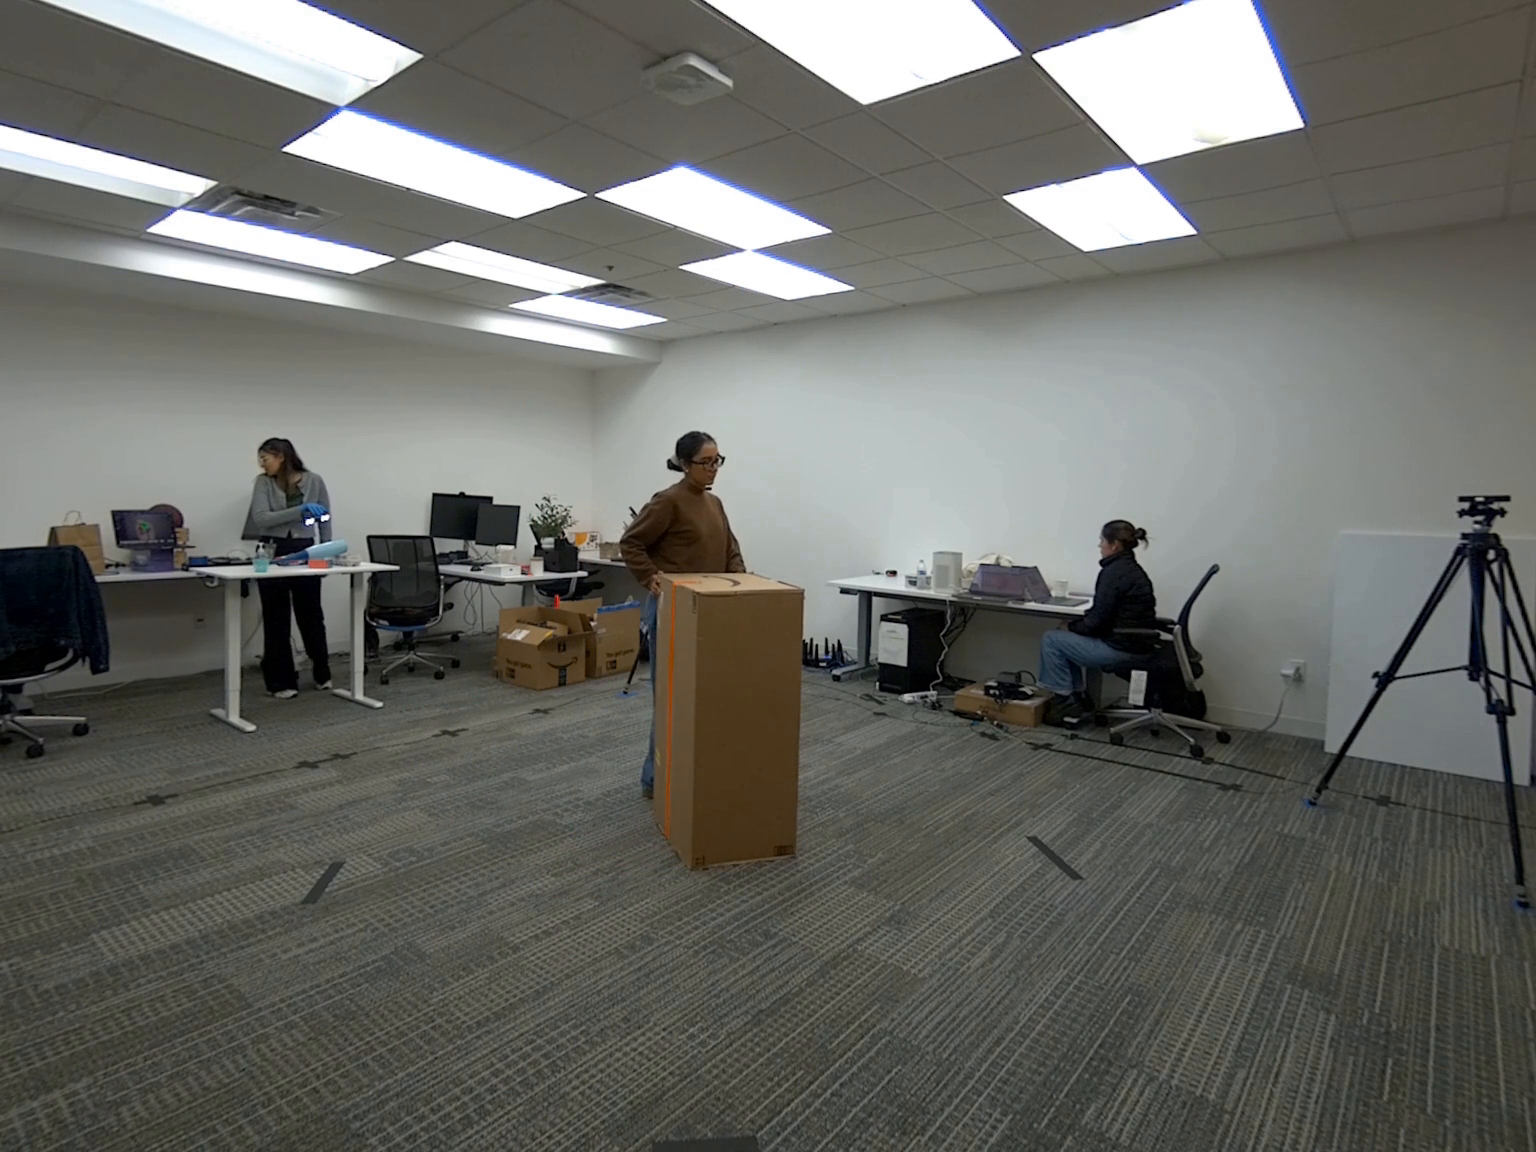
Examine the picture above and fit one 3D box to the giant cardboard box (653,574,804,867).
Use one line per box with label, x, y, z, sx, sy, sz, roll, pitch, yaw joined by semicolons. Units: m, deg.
giant cardboard box;-0.189;0.530;3.387;0.418;1.023;0.591;0;3;-20
